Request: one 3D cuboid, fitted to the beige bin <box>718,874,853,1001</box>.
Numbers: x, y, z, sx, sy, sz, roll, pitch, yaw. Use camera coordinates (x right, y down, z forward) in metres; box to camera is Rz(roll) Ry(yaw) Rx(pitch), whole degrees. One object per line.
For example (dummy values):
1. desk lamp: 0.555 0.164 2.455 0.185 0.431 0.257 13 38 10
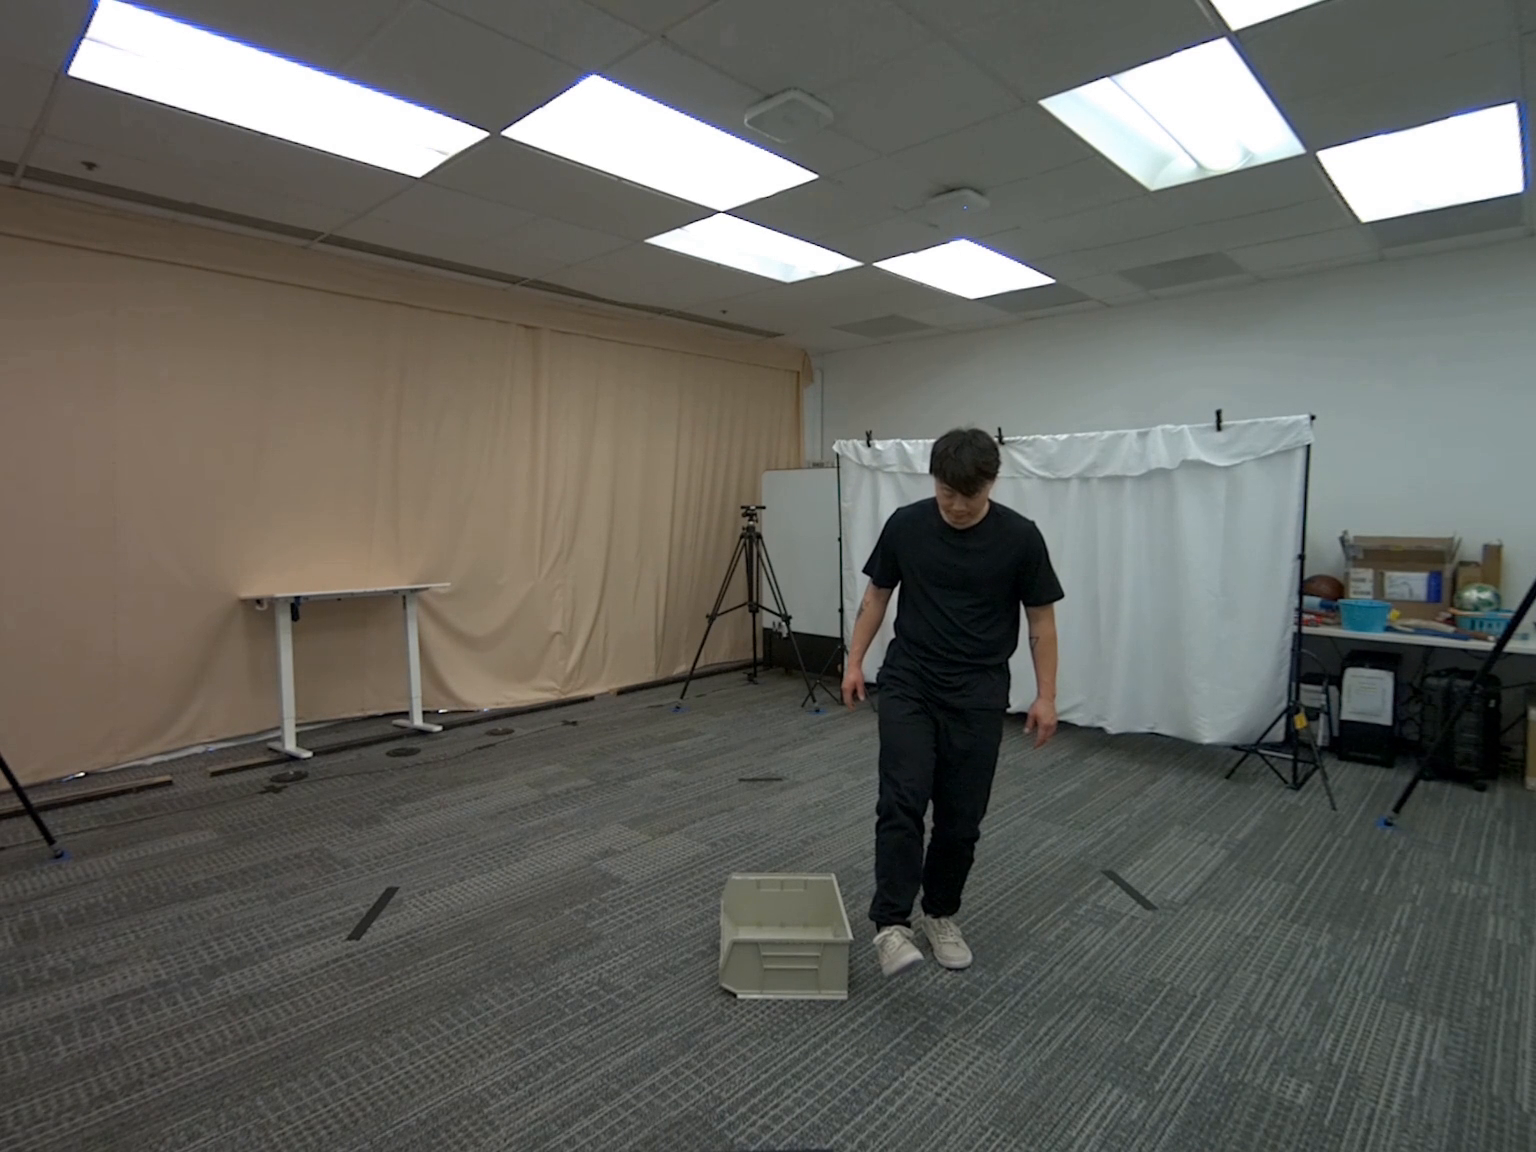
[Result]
1. beige bin: 0.042 1.097 2.569 0.377 0.189 0.423 0 3 -2
